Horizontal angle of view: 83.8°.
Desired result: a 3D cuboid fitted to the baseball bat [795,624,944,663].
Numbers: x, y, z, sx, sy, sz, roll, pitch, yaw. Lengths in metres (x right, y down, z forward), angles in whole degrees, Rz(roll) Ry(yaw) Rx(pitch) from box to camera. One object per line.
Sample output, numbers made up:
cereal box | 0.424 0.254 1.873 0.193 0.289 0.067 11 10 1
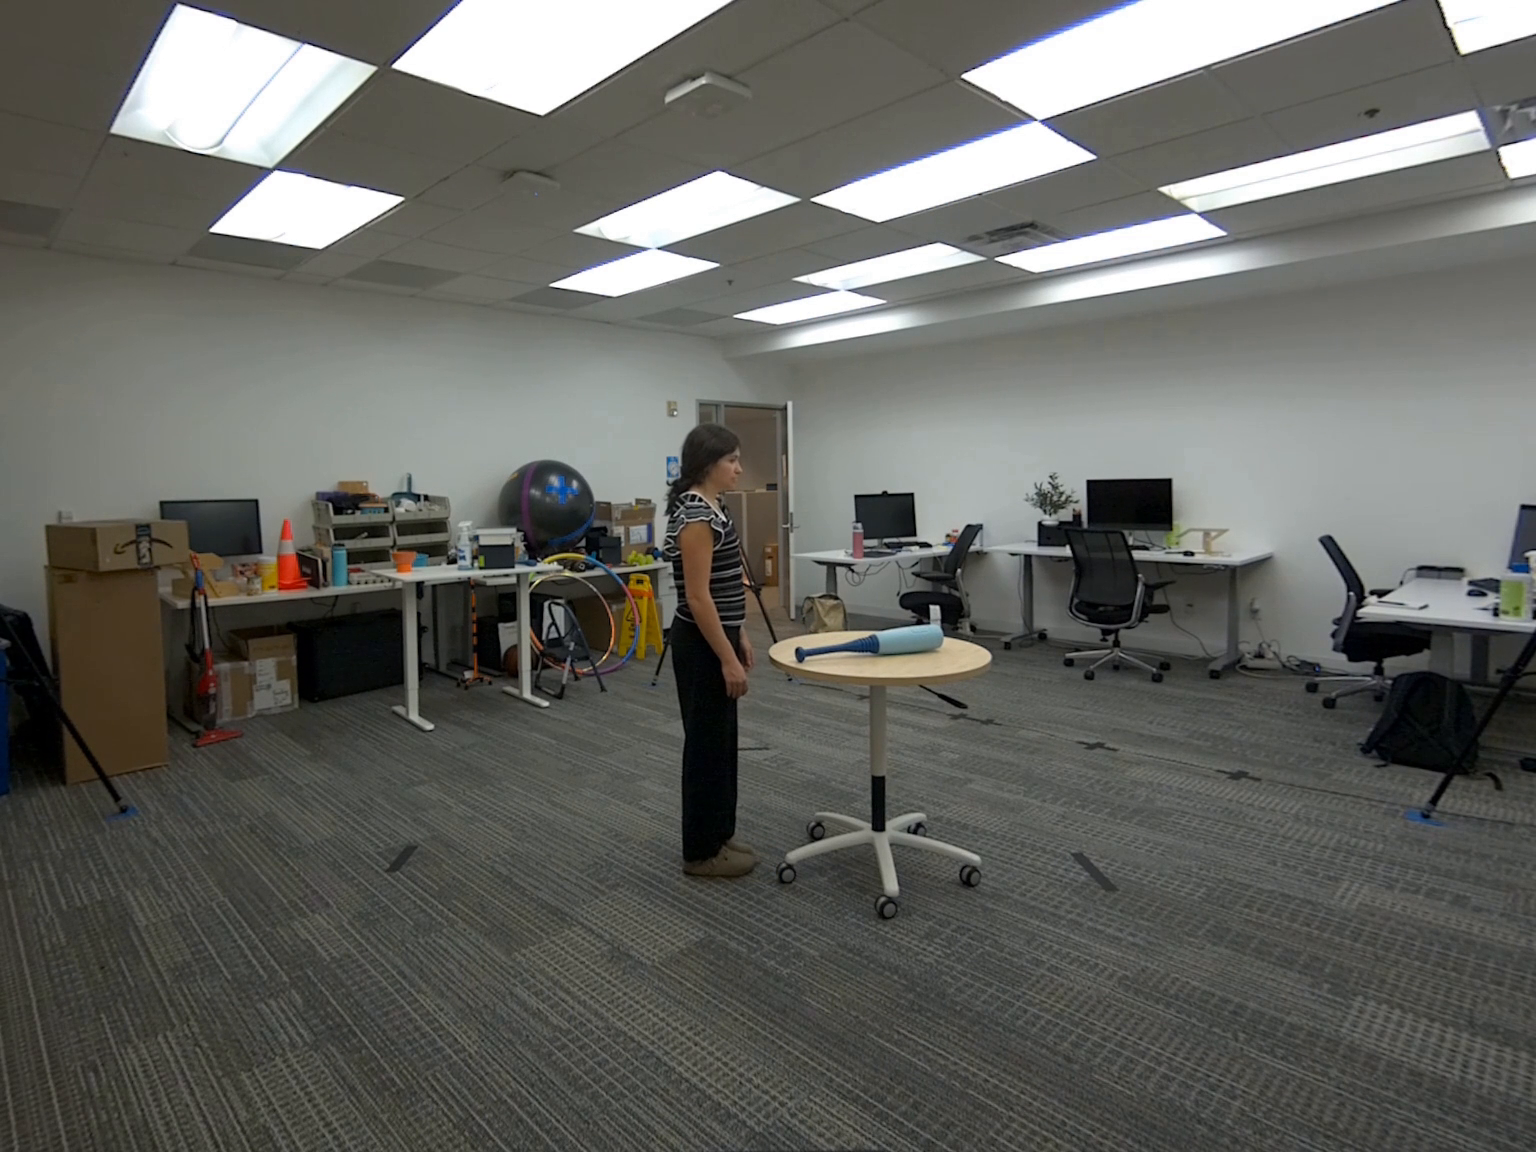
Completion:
baseball bat | 0.350 0.238 2.922 0.535 0.088 0.091 -5 6 -17
